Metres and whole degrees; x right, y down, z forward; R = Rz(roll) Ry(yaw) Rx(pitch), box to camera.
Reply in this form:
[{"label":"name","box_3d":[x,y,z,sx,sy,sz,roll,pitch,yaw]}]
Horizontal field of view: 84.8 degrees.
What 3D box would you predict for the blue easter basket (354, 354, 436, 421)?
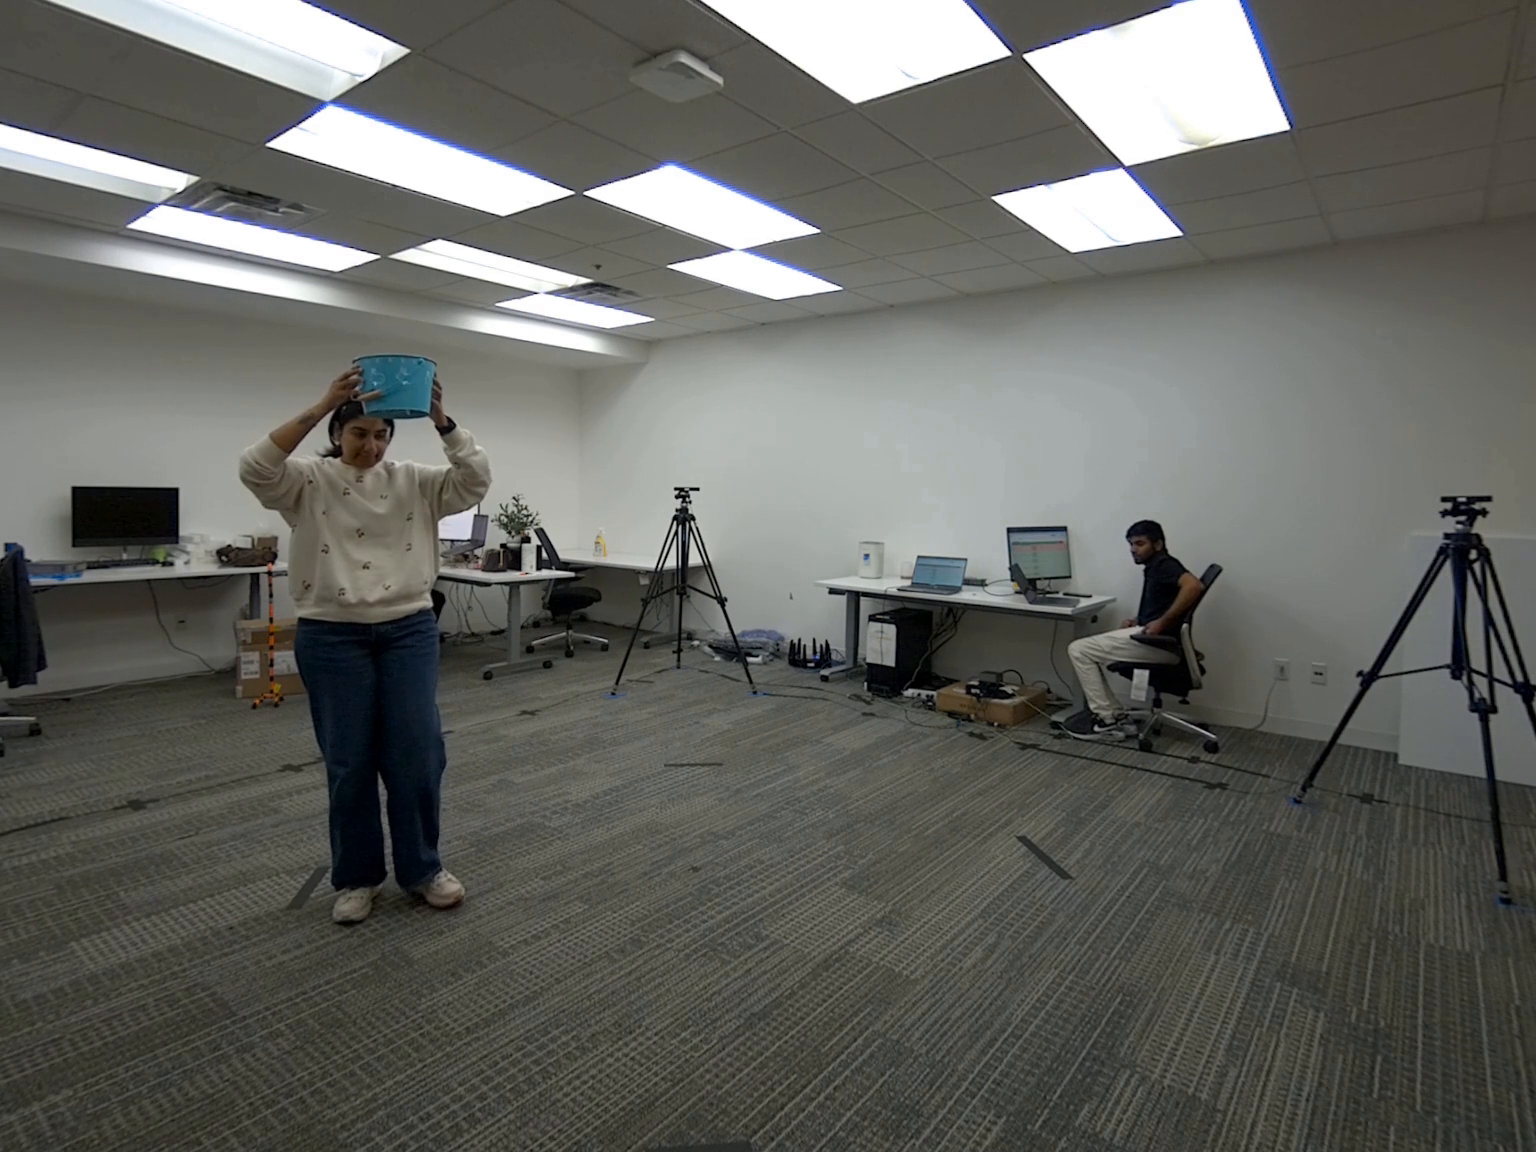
[{"label":"blue easter basket","box_3d":[-1.112,-0.555,2.476,0.243,0.156,0.244,-3,1,-2]}]
